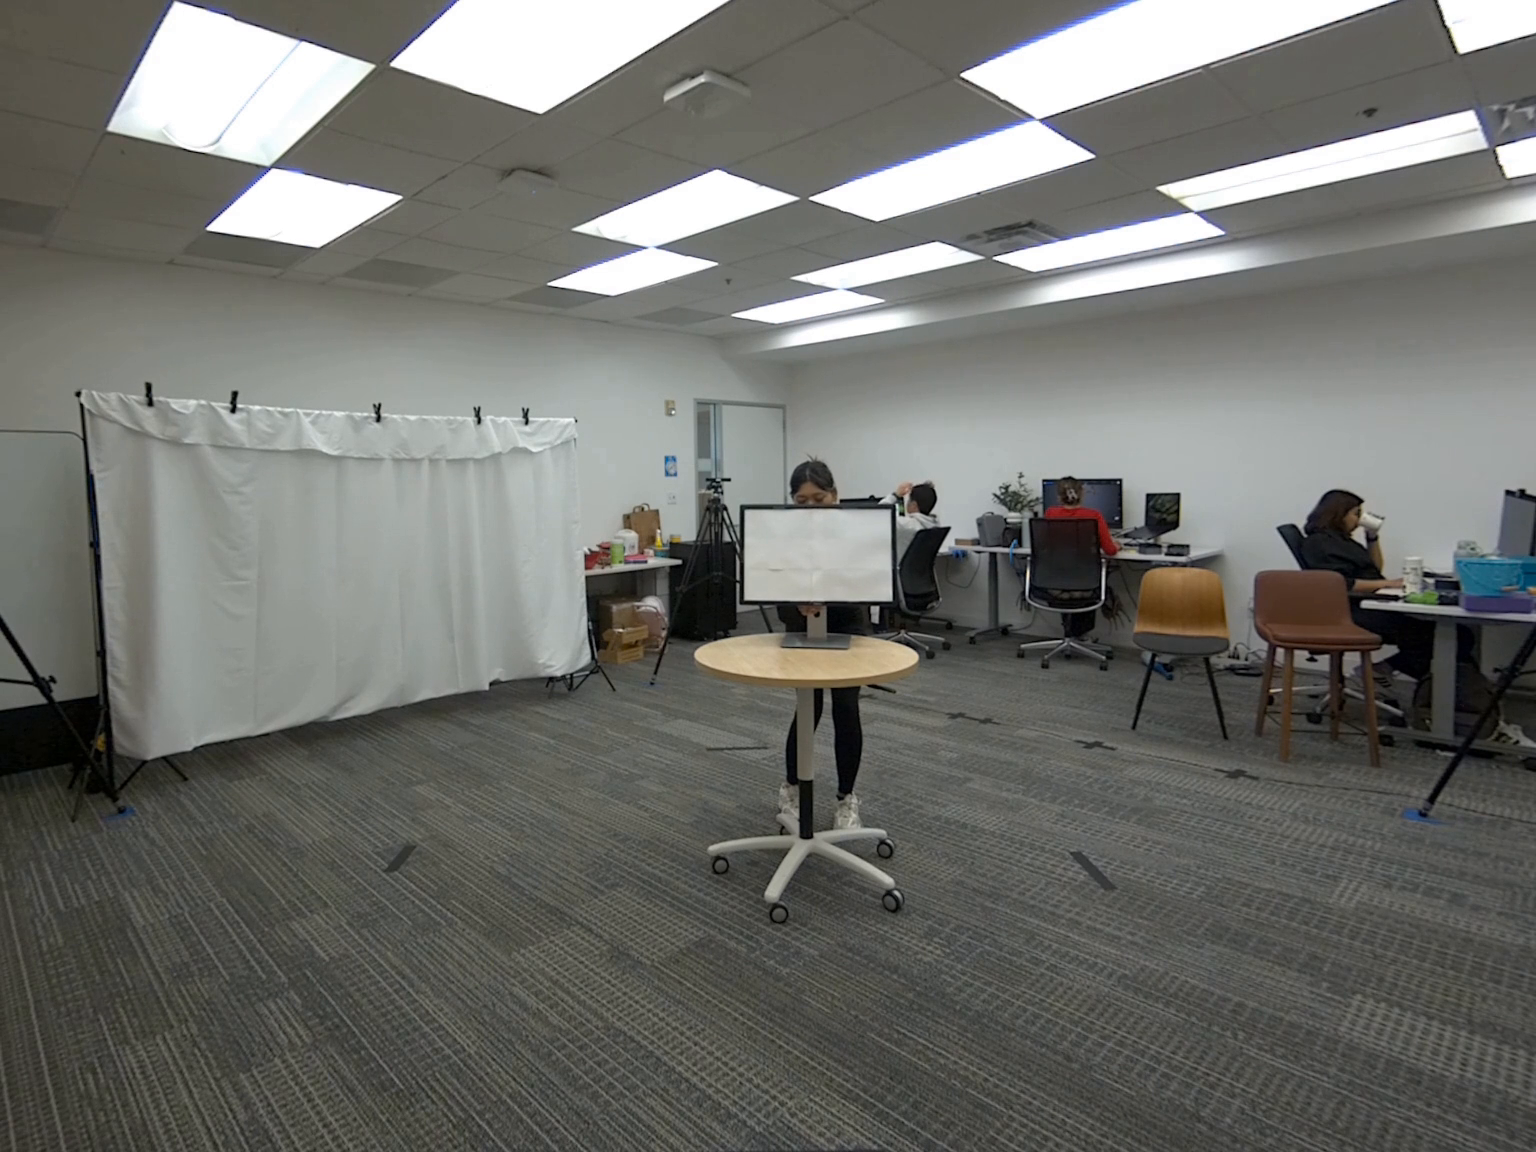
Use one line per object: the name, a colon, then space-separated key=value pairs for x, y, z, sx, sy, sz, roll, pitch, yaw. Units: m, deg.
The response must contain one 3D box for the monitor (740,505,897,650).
monitor: x=0.171 y=0.002 z=3.099 sx=0.541 sy=0.520 sz=0.187 roll=0 pitch=5 yaw=3
